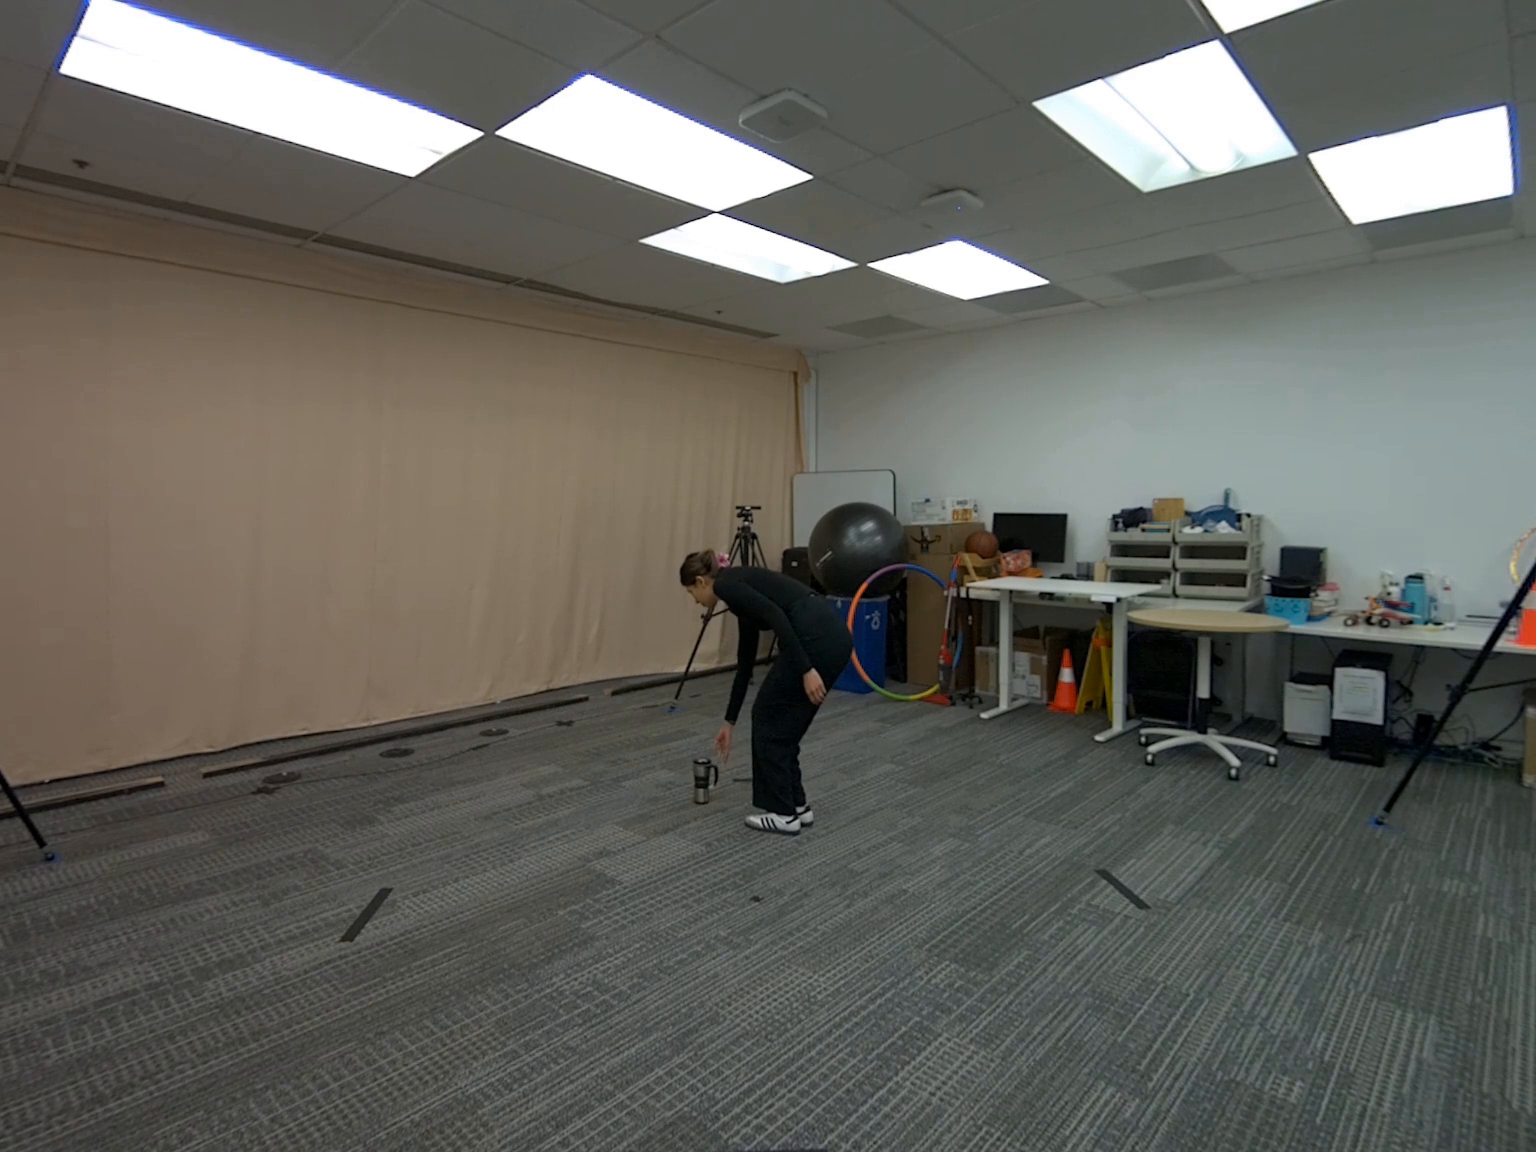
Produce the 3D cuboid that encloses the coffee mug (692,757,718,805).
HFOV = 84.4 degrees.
[{"bbox_3d":[-0.299,0.972,3.963,0.085,0.203,0.126,5,-6,-42],"label":"coffee mug"}]
